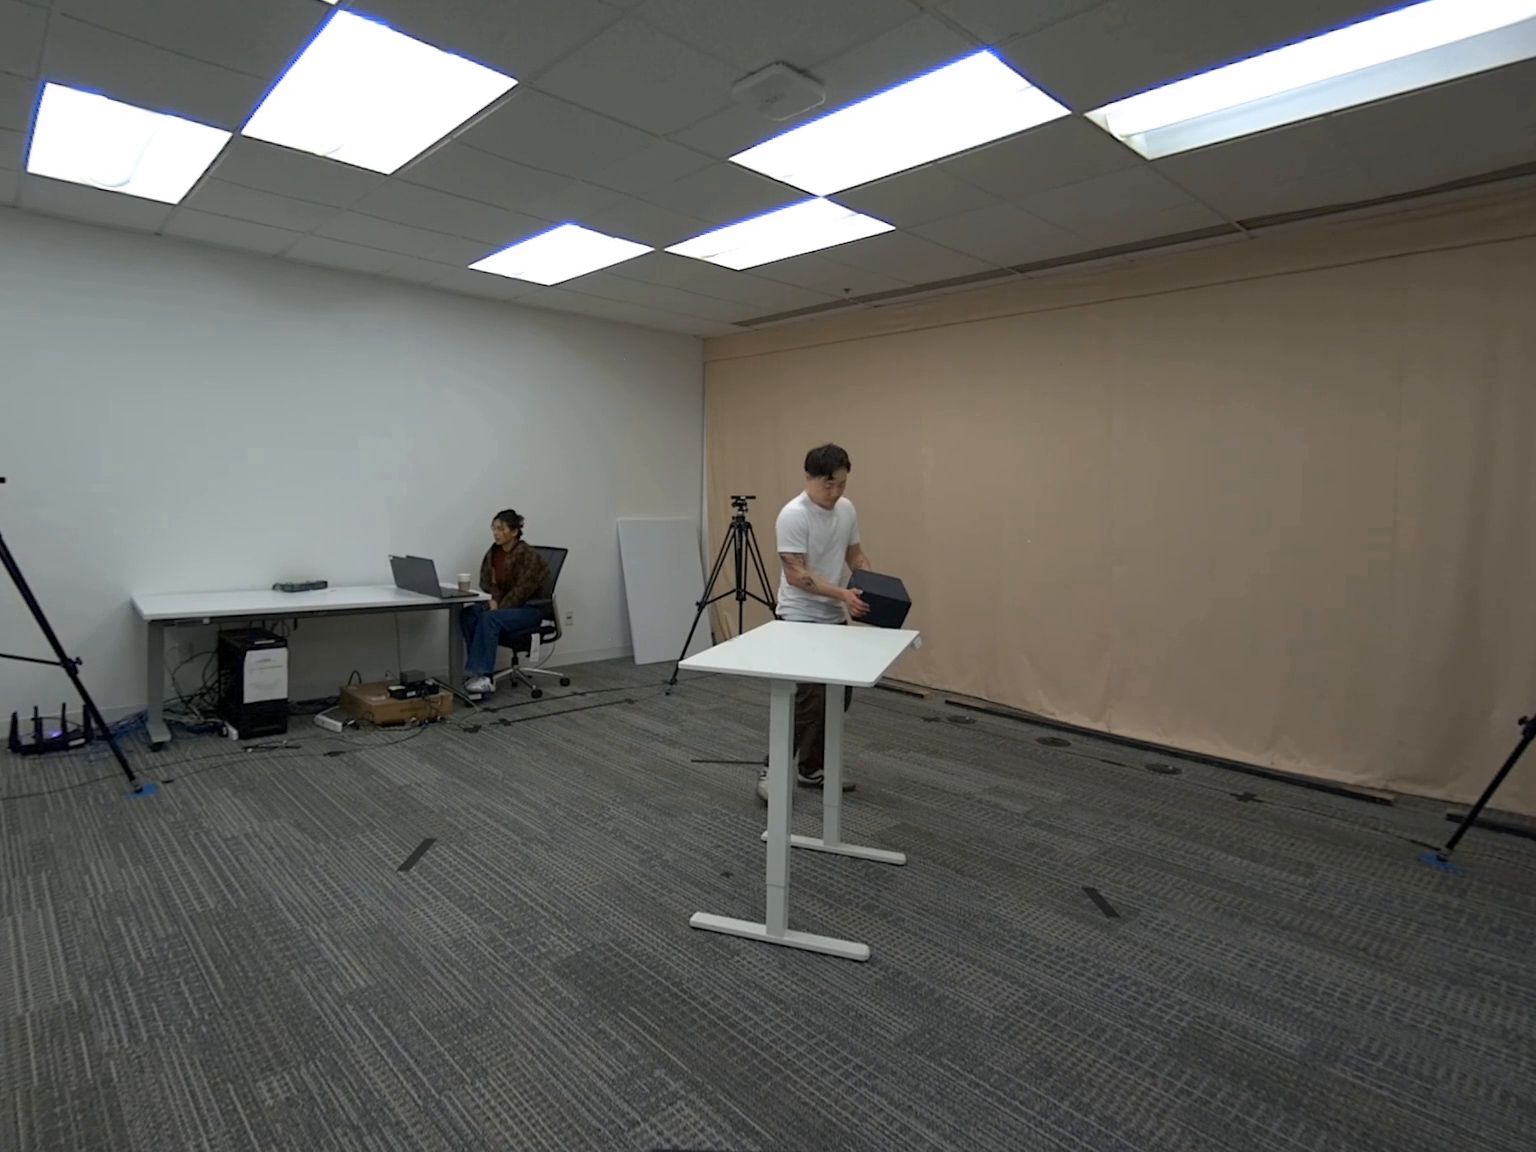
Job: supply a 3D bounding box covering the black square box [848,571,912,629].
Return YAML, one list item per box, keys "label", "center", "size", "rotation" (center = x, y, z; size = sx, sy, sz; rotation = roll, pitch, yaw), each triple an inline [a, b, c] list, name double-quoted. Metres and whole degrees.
- label: "black square box"
  center: [0.462, 0.107, 3.775]
  size: [0.226, 0.154, 0.221]
  rotation: [12, 27, -7]
